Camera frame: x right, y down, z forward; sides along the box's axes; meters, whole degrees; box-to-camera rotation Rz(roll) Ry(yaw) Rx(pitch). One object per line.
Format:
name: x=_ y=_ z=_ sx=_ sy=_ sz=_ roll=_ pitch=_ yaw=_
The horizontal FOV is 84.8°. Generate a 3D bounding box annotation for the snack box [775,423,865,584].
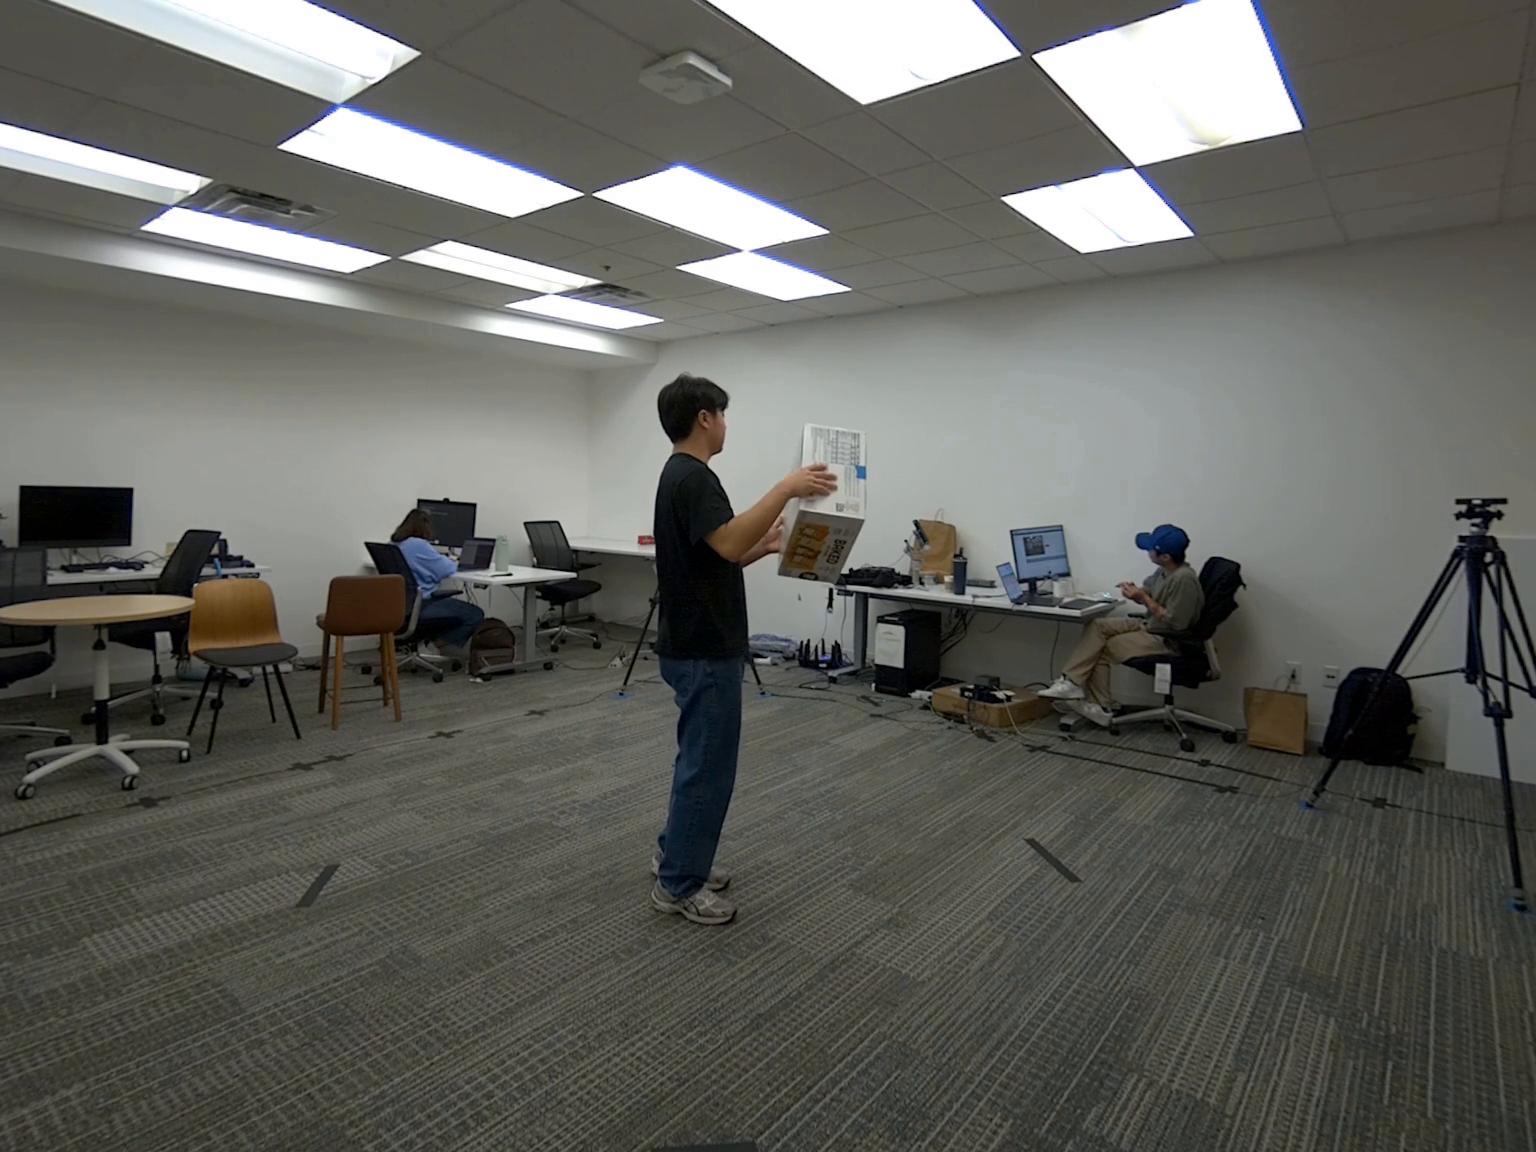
snack box: x=0.165 y=-0.234 z=2.783 sx=0.205 sy=0.348 sz=0.397 roll=7 pitch=-32 yaw=-5
